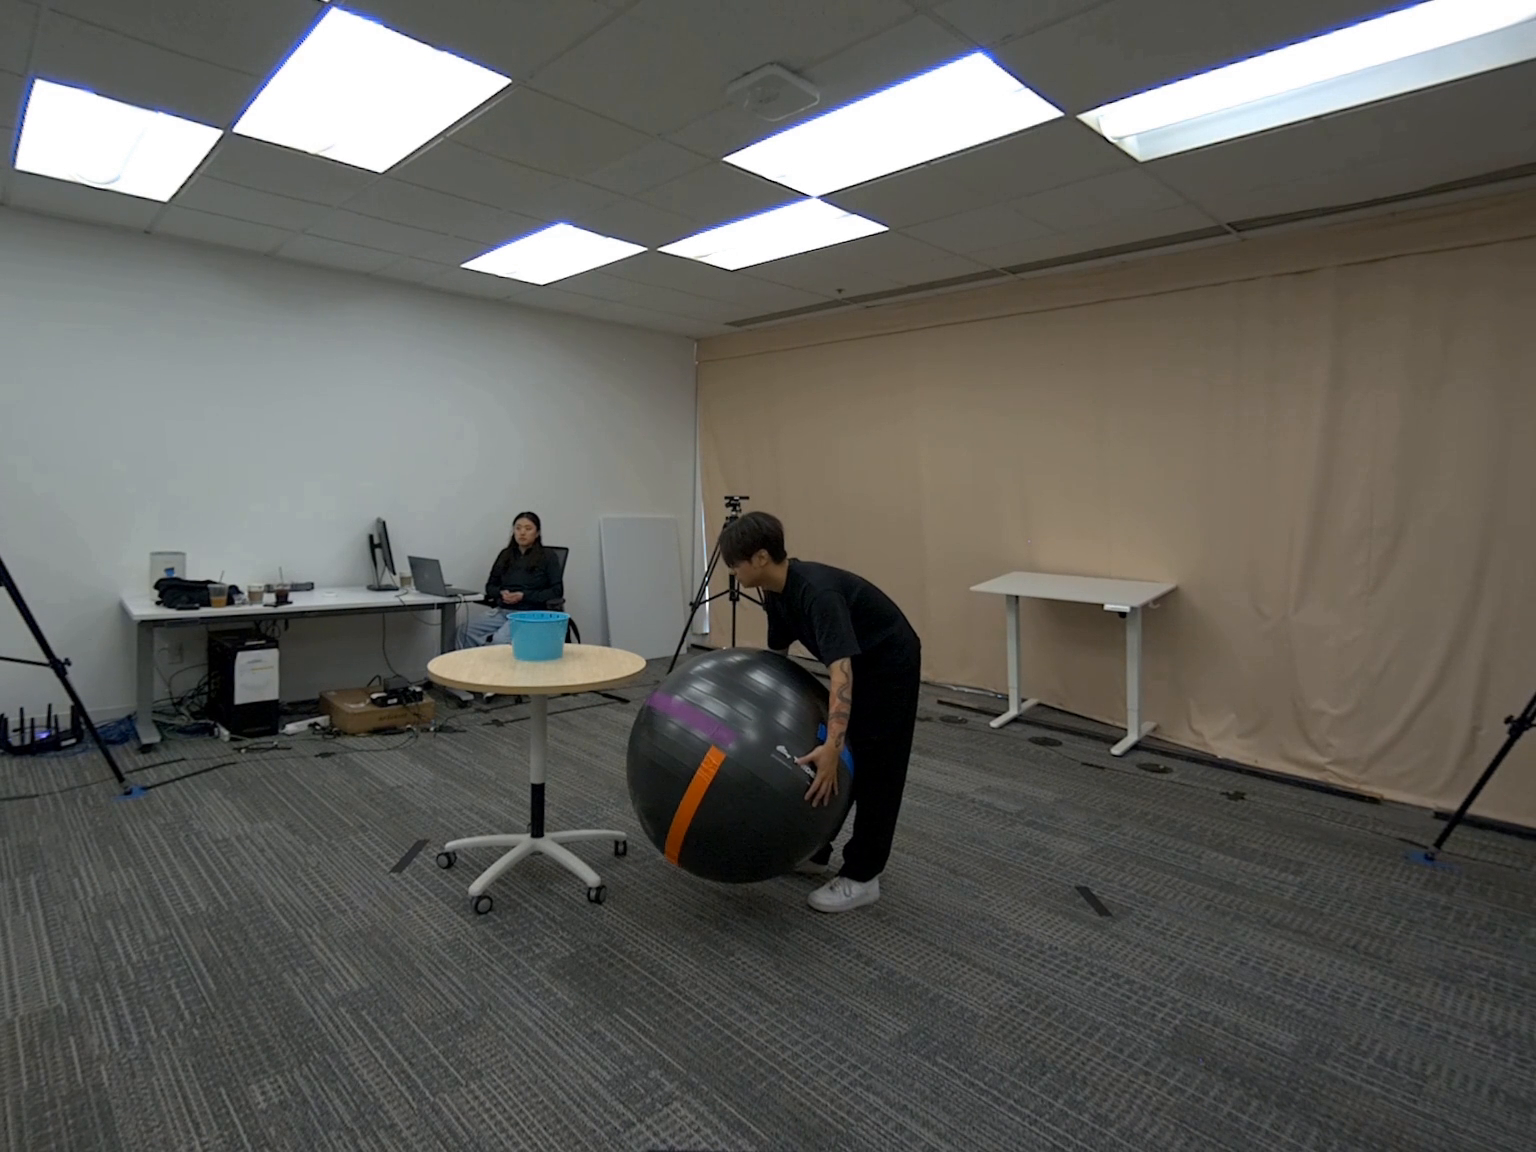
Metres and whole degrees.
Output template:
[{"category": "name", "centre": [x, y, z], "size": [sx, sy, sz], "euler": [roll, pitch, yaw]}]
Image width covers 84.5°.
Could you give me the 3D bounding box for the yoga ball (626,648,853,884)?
[{"category": "yoga ball", "centre": [-0.089, 0.635, 2.808], "size": [0.757, 0.756, 0.761], "euler": [1, 4, -1]}]
